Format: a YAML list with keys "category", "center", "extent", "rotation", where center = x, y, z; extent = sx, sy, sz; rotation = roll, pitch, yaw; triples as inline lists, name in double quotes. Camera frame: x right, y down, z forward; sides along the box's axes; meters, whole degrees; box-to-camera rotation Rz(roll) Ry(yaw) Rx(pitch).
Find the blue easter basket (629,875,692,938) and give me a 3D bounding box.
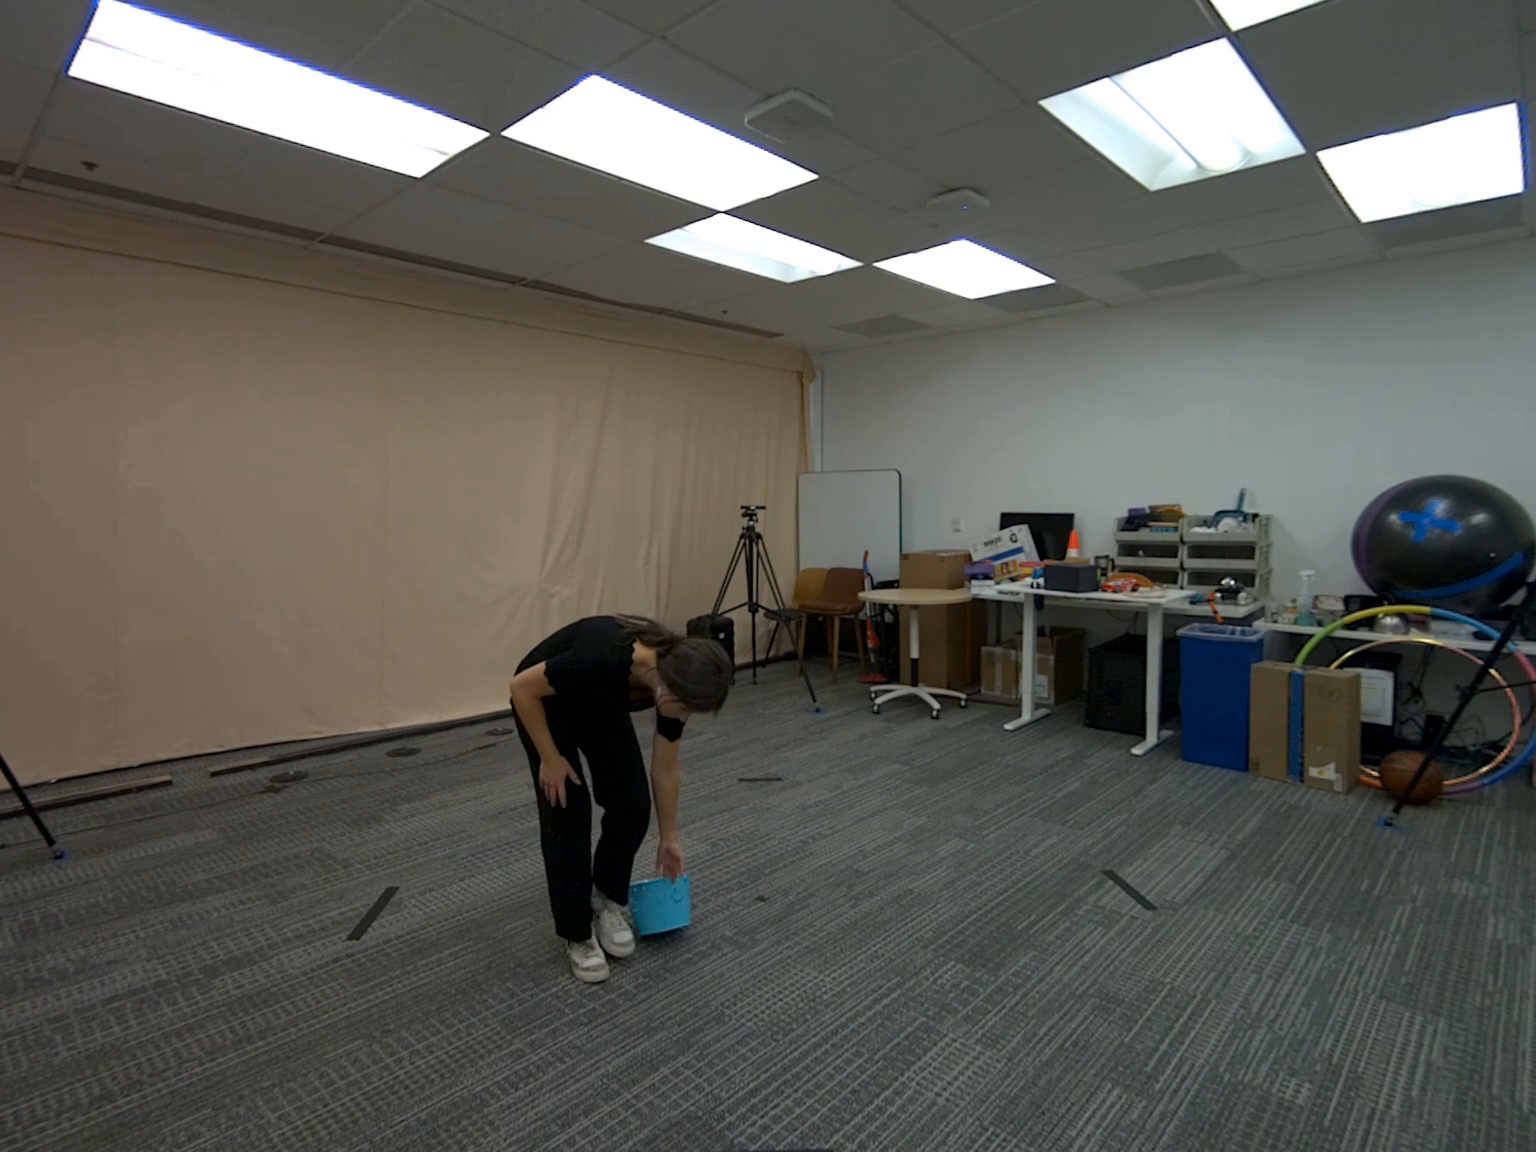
- category: "blue easter basket"
  center: [-0.348, 1.066, 2.729]
  extent: [0.243, 0.158, 0.241]
  rotation: [-10, -14, -5]
